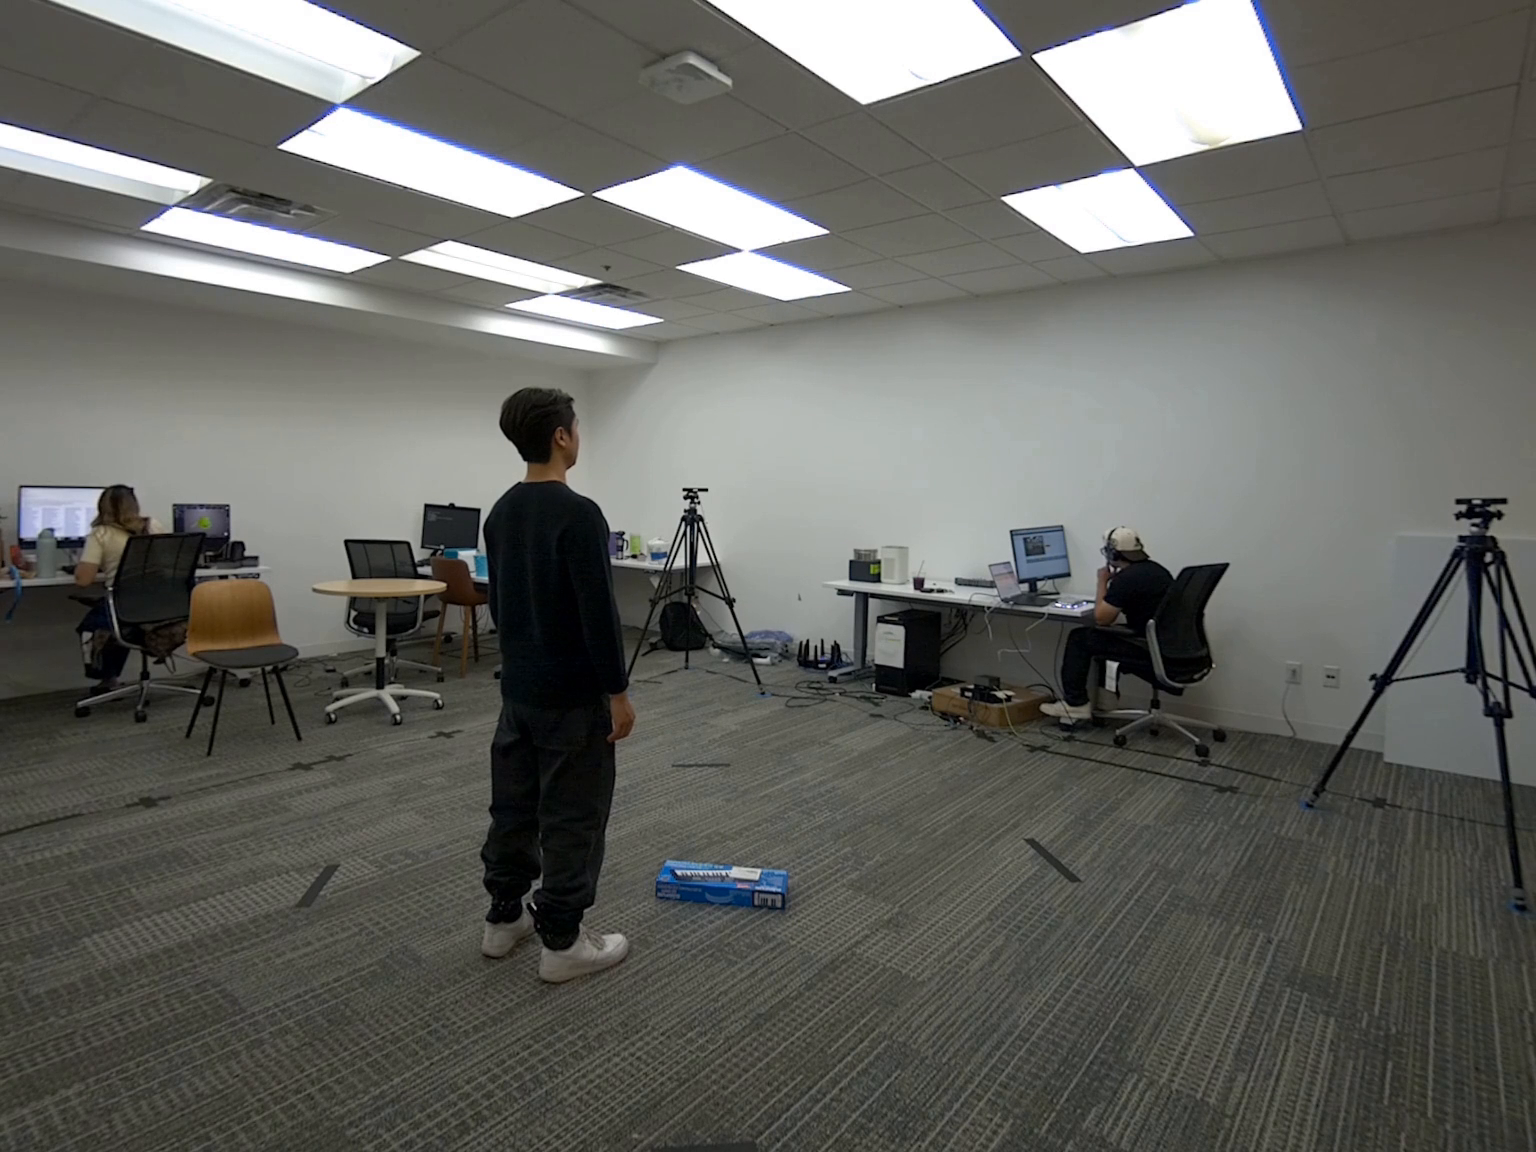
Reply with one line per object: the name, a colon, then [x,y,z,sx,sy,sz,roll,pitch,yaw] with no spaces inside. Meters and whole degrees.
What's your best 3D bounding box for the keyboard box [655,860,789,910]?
keyboard box: [-0.165,1.056,2.930,0.441,0.059,0.175,2,5,8]
